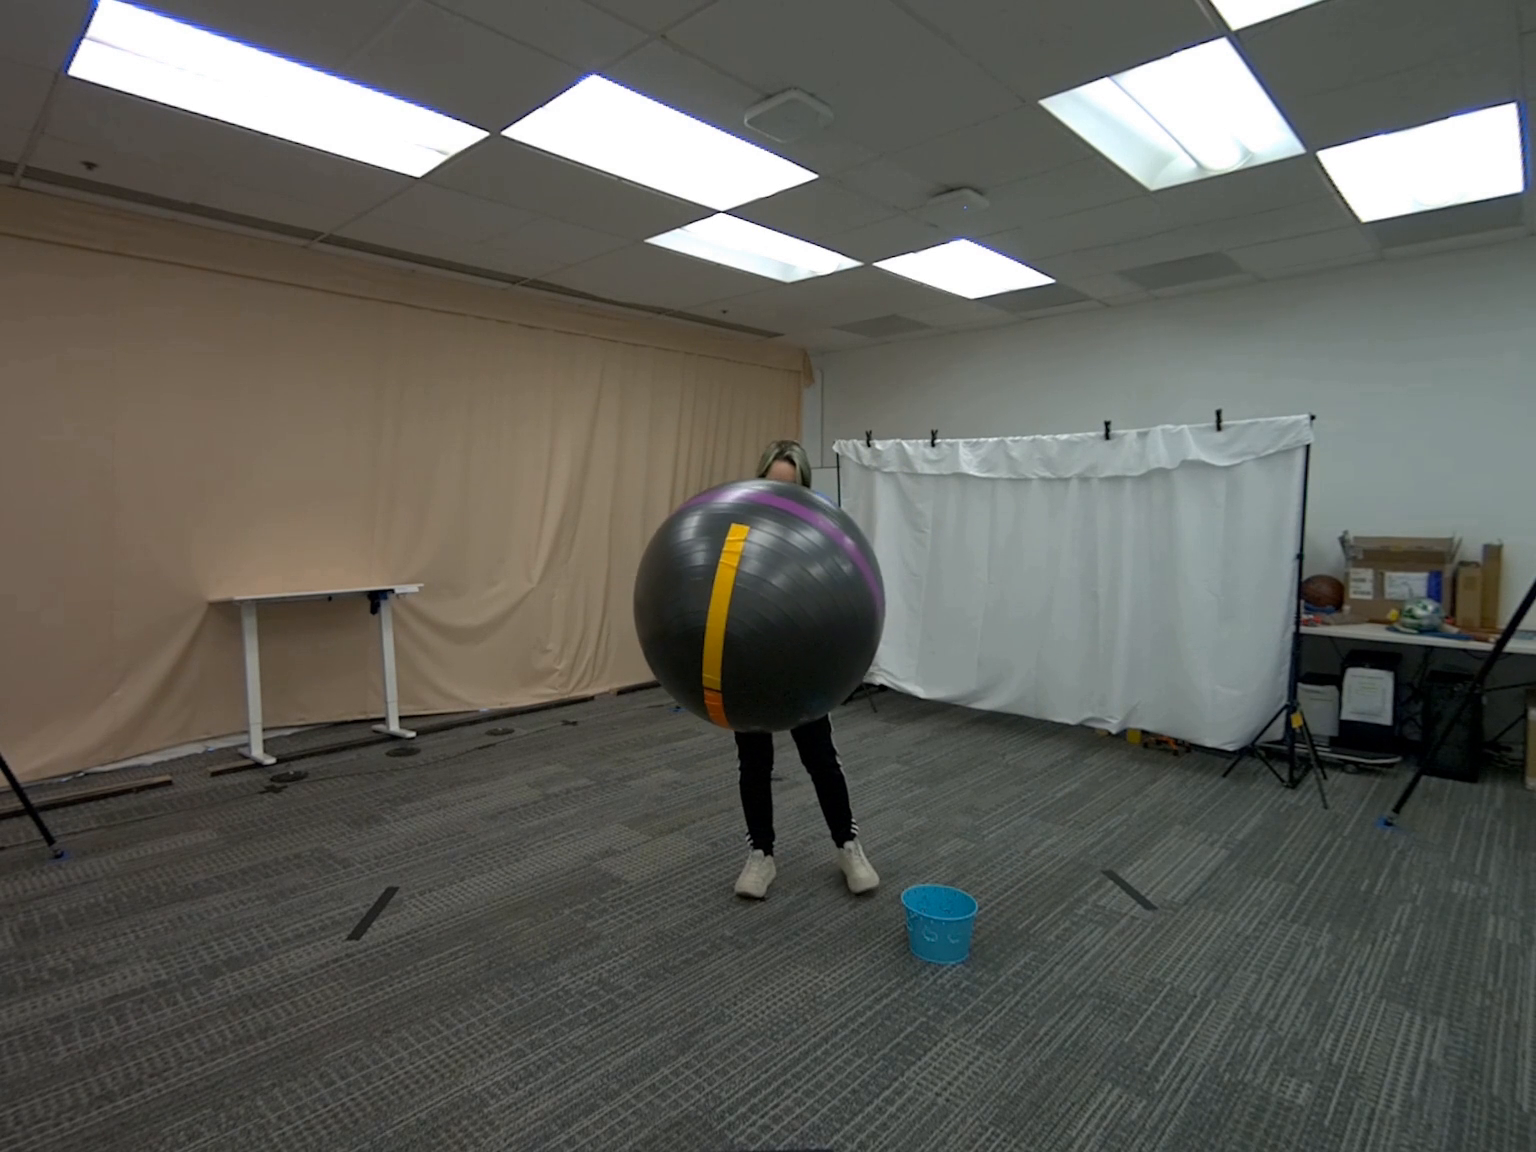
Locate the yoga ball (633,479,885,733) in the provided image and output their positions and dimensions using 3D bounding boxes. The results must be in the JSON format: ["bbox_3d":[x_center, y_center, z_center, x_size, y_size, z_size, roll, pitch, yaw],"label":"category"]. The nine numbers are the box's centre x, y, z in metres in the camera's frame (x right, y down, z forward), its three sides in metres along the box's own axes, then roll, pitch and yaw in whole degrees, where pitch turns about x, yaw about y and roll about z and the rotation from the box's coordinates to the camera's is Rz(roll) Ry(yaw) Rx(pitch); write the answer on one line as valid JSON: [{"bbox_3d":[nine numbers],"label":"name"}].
[{"bbox_3d":[-0.026,0.103,2.538,0.757,0.756,0.760,0,4,-2],"label":"yoga ball"}]
